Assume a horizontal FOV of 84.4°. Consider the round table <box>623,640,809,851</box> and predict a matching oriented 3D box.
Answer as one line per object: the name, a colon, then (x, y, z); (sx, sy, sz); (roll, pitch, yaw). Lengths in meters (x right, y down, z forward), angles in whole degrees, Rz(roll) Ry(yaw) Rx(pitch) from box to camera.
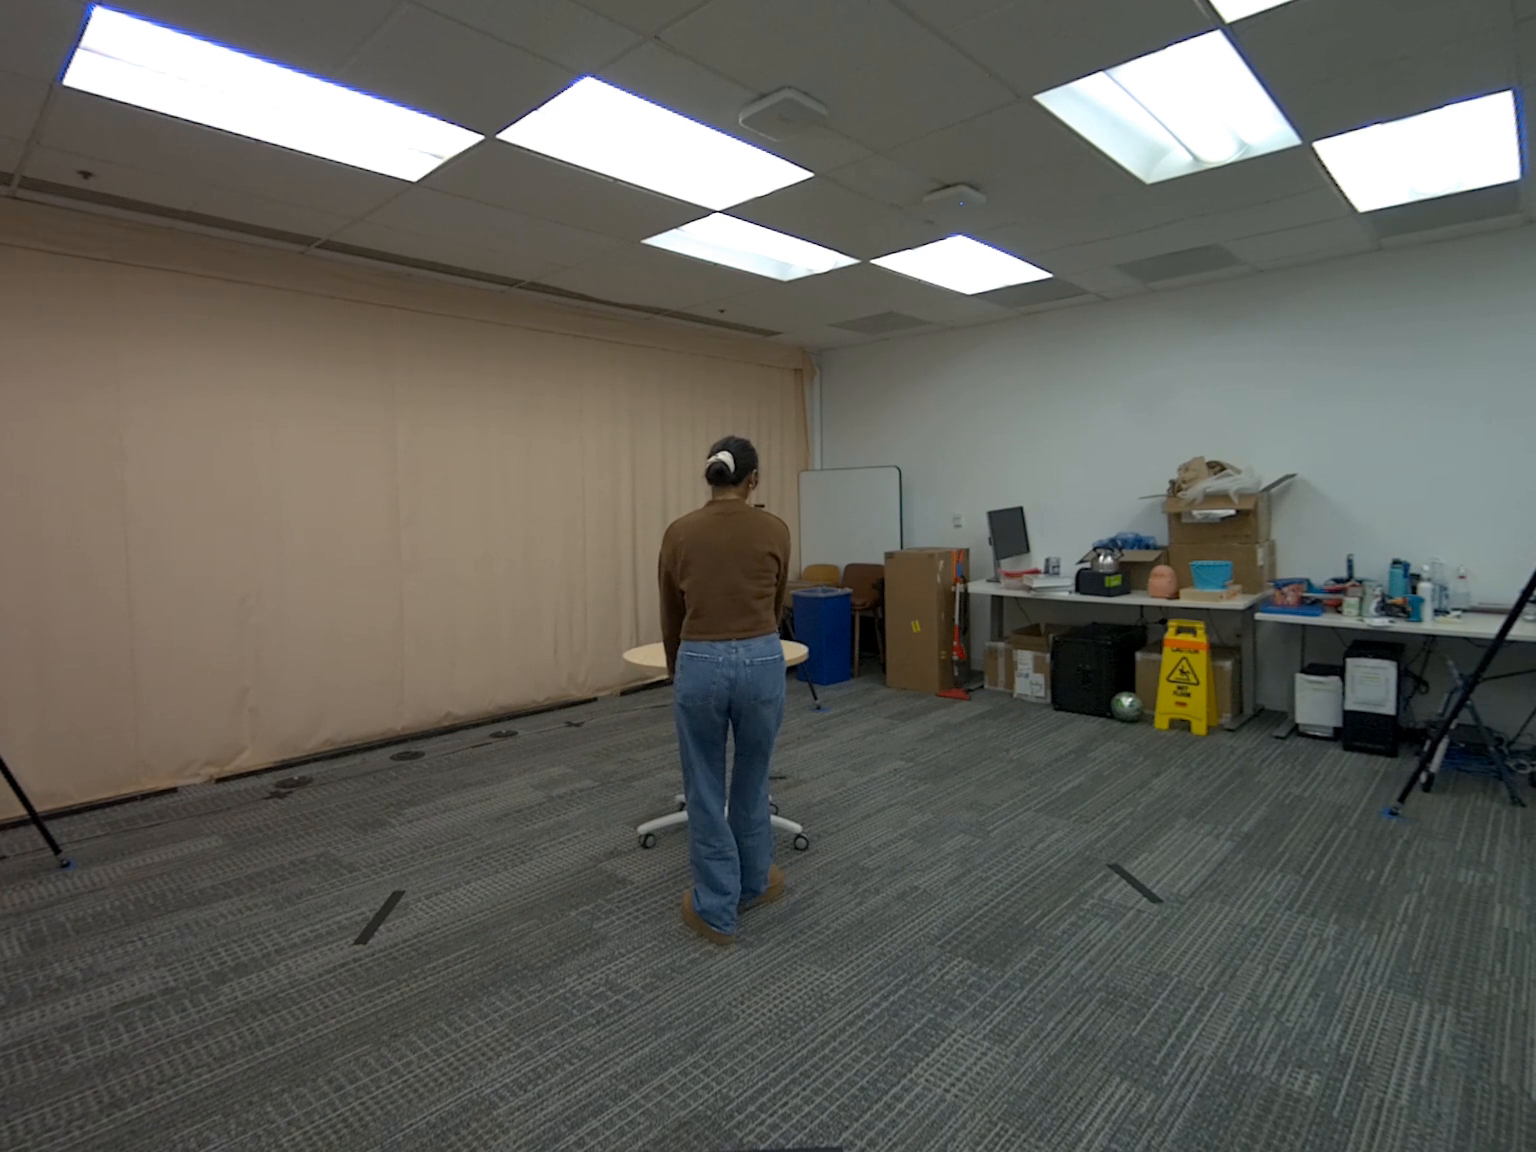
round table: (-0.186, 0.703, 3.488); (0.784, 0.785, 0.788); (-2, 3, -2)
